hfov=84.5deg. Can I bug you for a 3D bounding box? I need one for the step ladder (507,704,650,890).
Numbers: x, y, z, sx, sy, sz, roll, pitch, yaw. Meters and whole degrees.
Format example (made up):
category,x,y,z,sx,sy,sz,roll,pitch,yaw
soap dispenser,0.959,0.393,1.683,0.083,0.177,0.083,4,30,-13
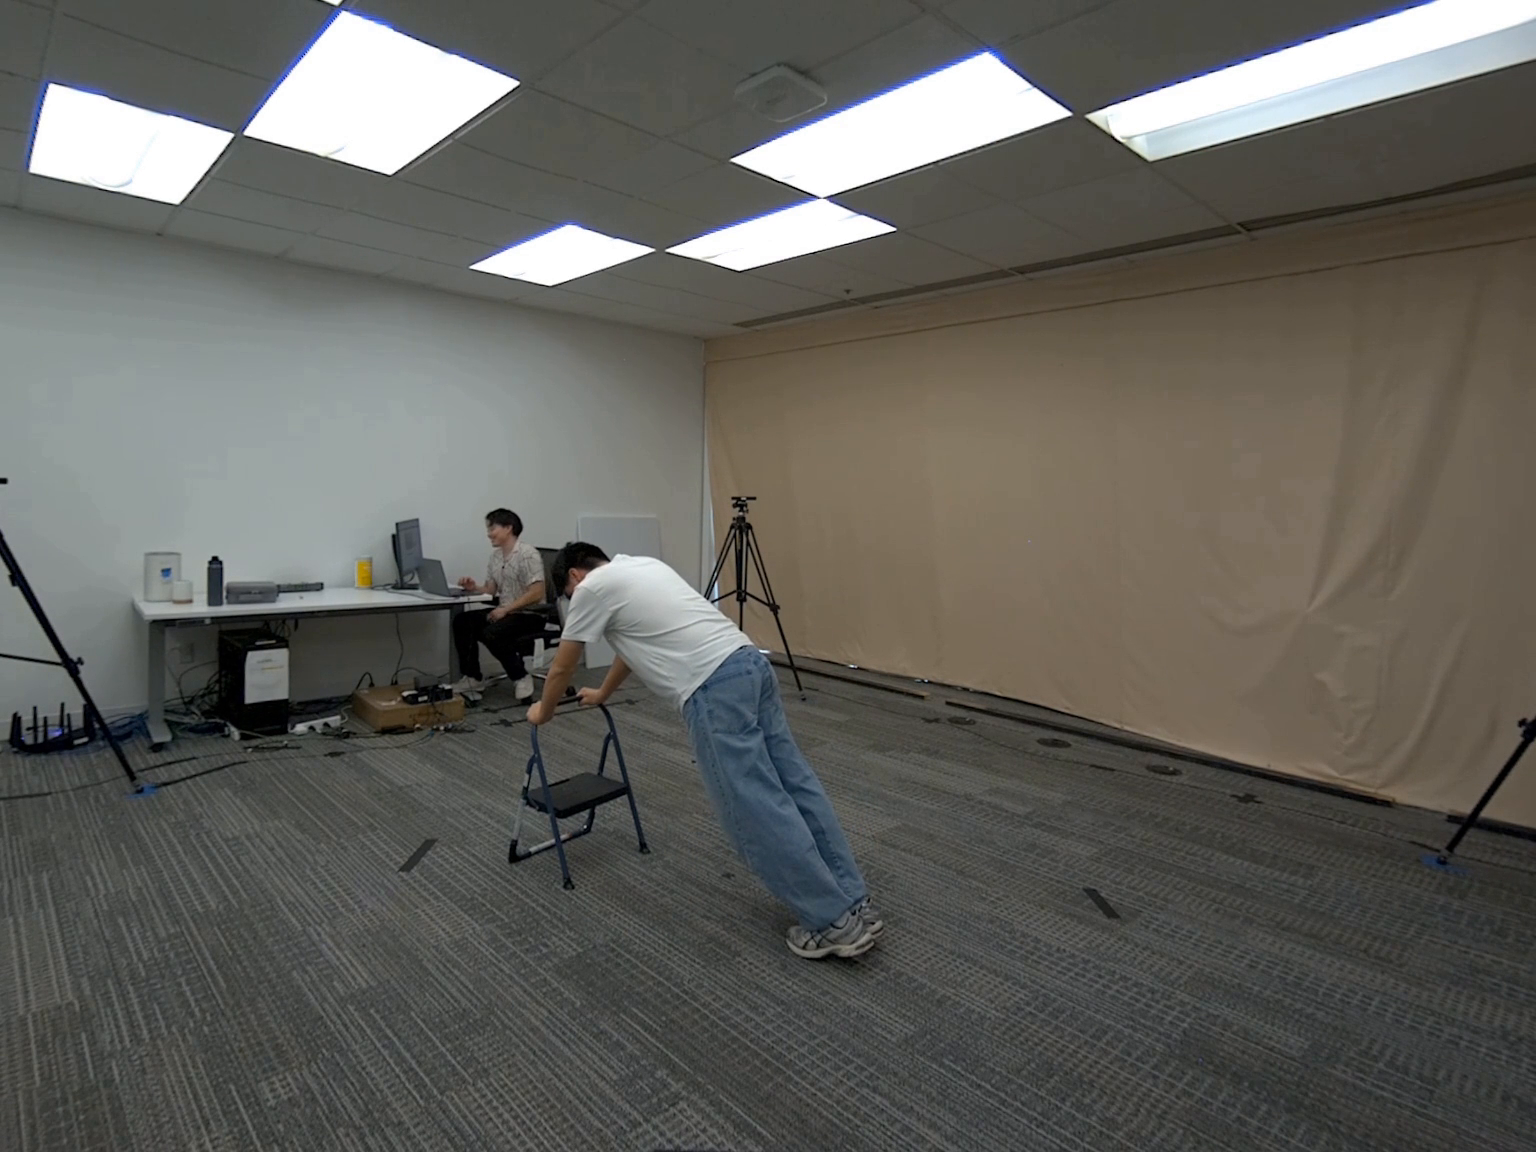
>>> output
category,x,y,z,sx,sy,sz,roll,pitch,yaw
step ladder,-0.726,0.778,3.223,0.357,0.605,0.421,3,4,34
